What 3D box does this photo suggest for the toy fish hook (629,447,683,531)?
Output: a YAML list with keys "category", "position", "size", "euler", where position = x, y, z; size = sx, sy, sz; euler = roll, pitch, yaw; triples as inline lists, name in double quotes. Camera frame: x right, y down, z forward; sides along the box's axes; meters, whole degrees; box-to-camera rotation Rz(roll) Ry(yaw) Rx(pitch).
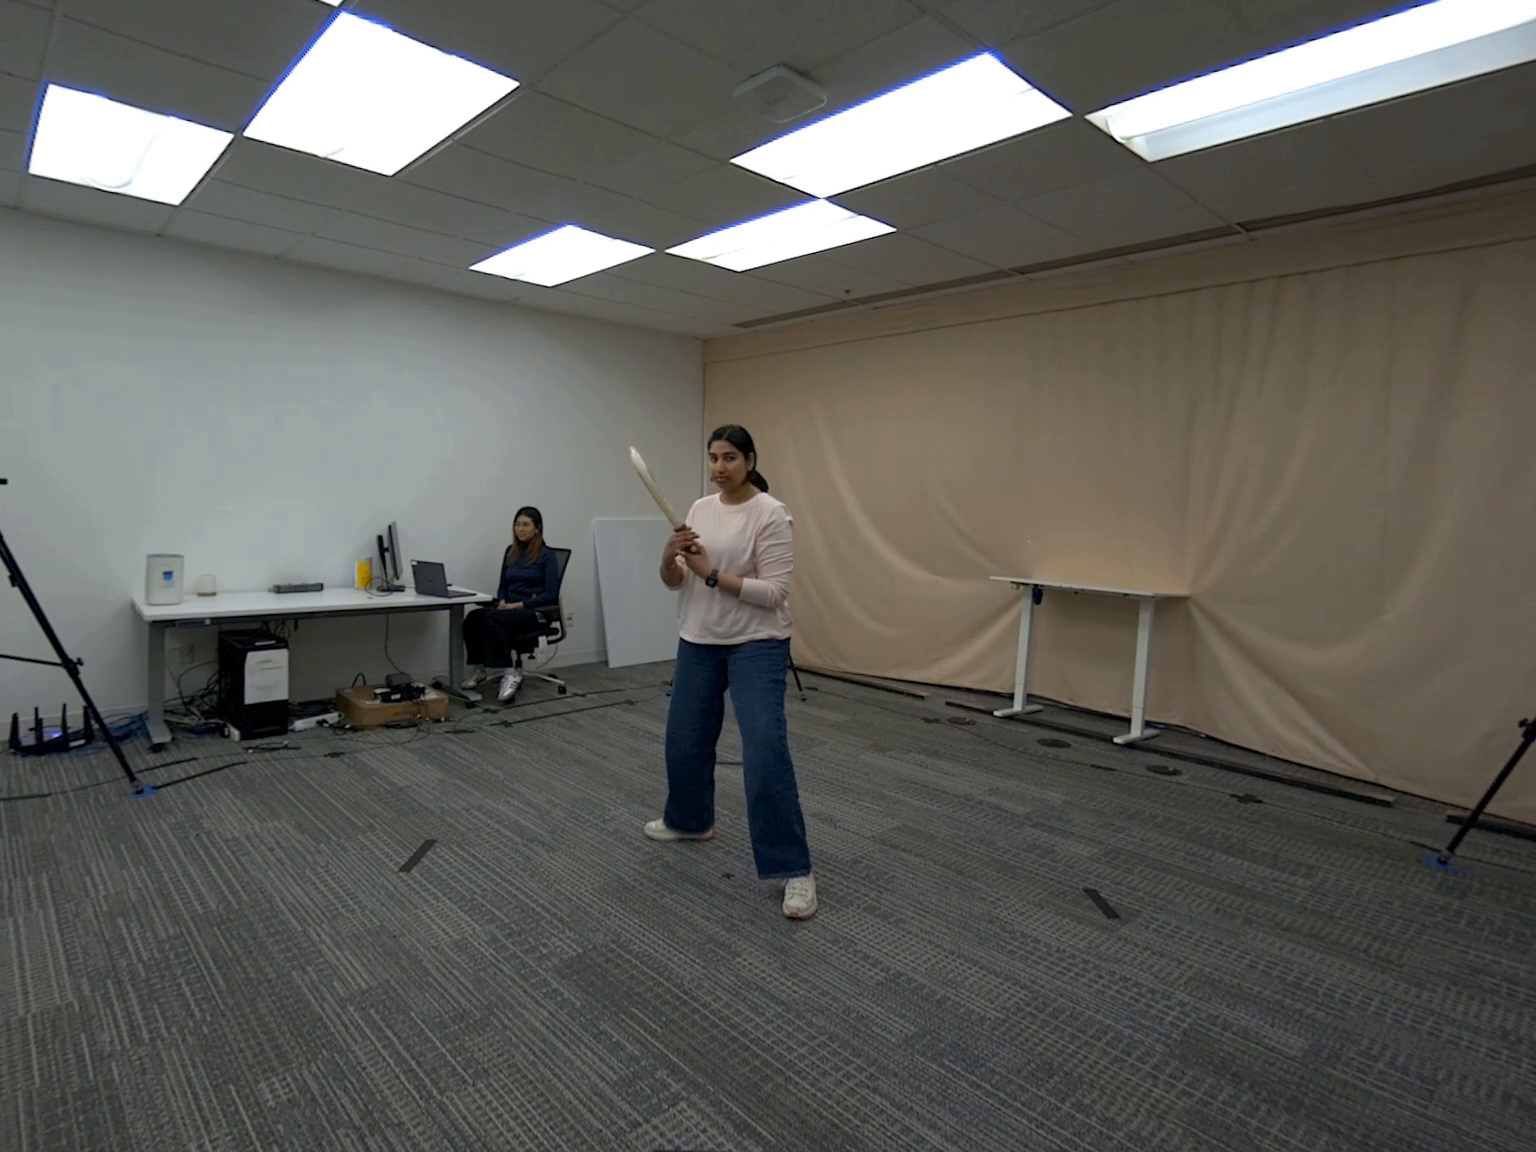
- category: "toy fish hook"
  position: [-0.354, -0.235, 2.969]
  size: [0.048, 0.496, 0.229]
  euler: [-27, 21, 5]
